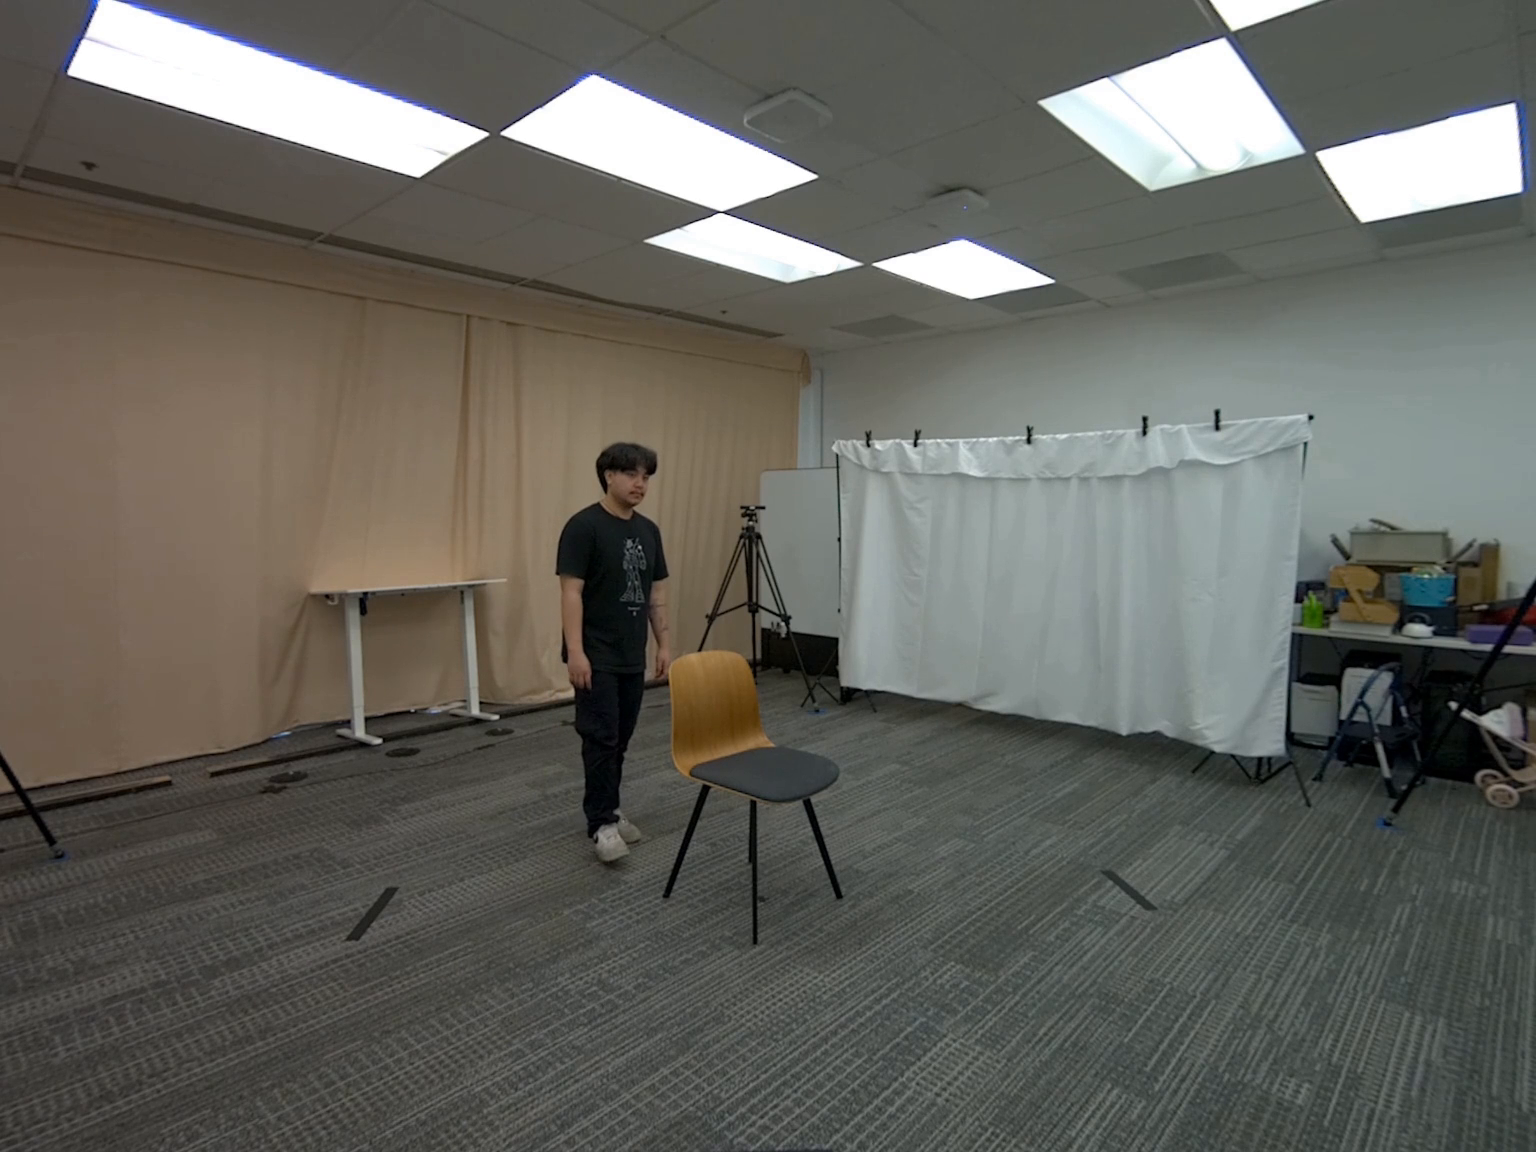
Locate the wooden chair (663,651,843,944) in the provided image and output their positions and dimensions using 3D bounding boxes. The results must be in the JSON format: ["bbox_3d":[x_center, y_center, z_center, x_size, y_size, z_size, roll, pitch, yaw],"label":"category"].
[{"bbox_3d":[-0.046,0.723,2.951,0.539,0.877,0.463,-3,0,44],"label":"wooden chair"}]
